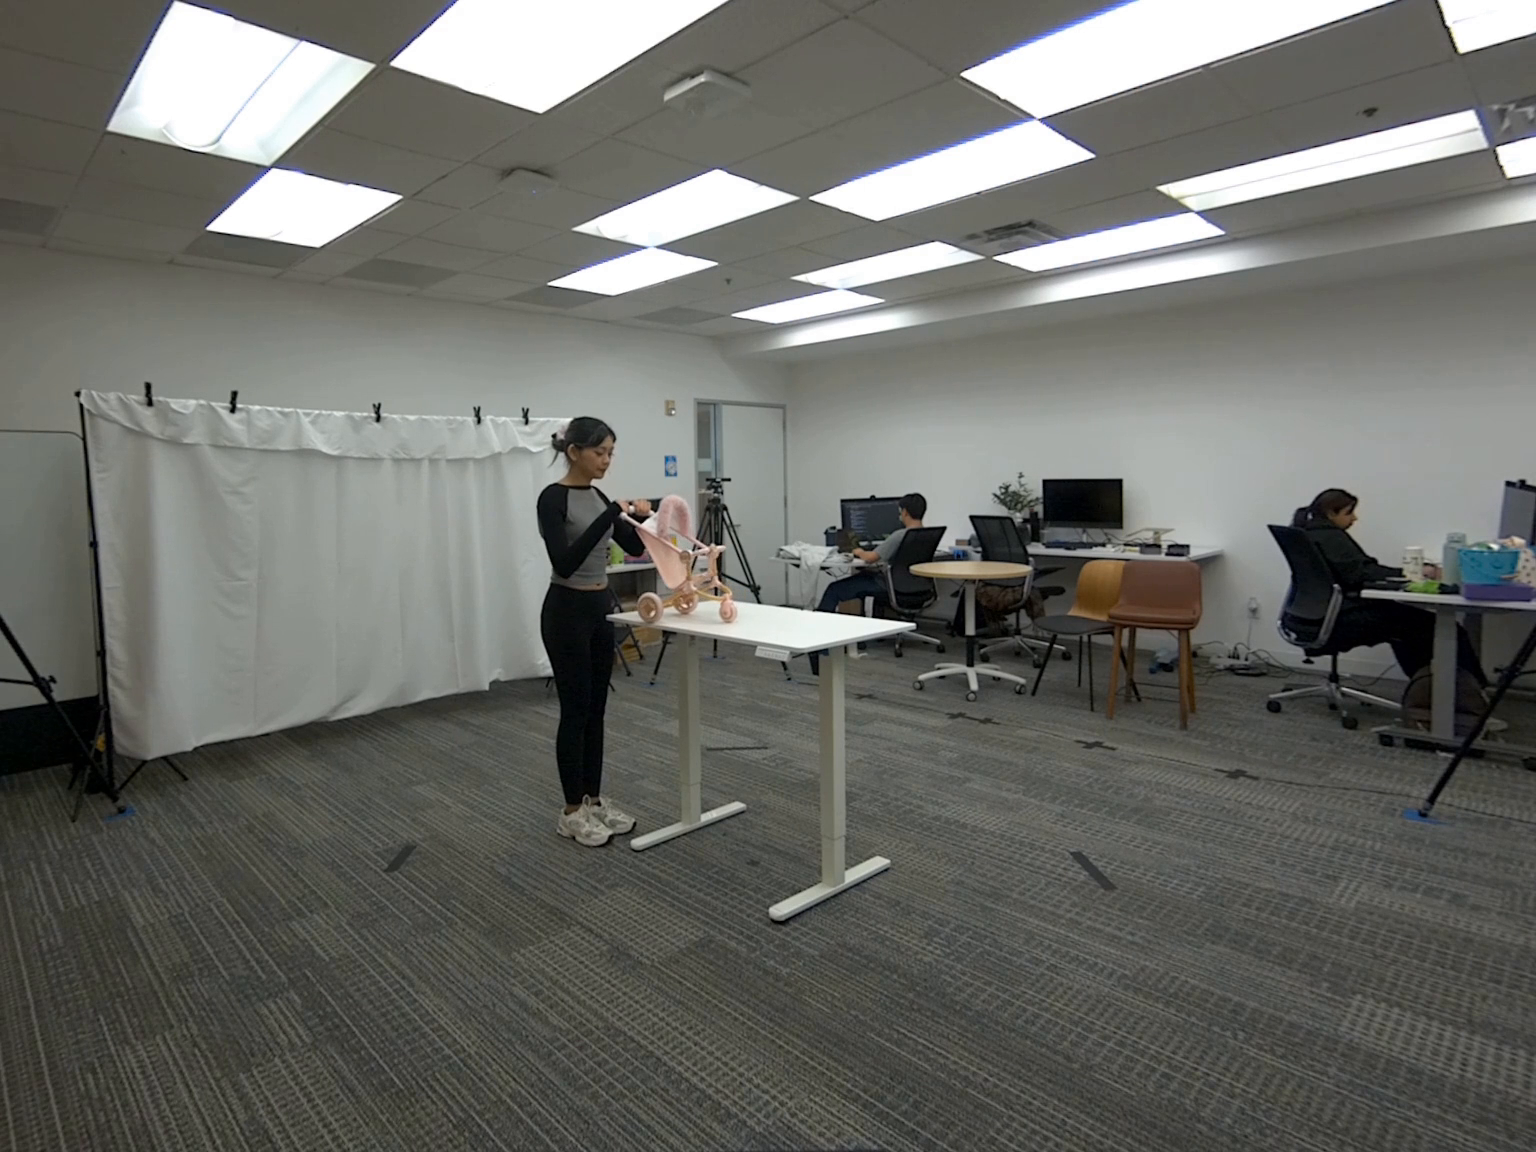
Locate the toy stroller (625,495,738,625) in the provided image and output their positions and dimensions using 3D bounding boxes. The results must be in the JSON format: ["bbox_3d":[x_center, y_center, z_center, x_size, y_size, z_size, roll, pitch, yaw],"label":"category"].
[{"bbox_3d":[-0.325,-0.061,3.131,0.347,0.538,0.275,-18,-5,32],"label":"toy stroller"}]
